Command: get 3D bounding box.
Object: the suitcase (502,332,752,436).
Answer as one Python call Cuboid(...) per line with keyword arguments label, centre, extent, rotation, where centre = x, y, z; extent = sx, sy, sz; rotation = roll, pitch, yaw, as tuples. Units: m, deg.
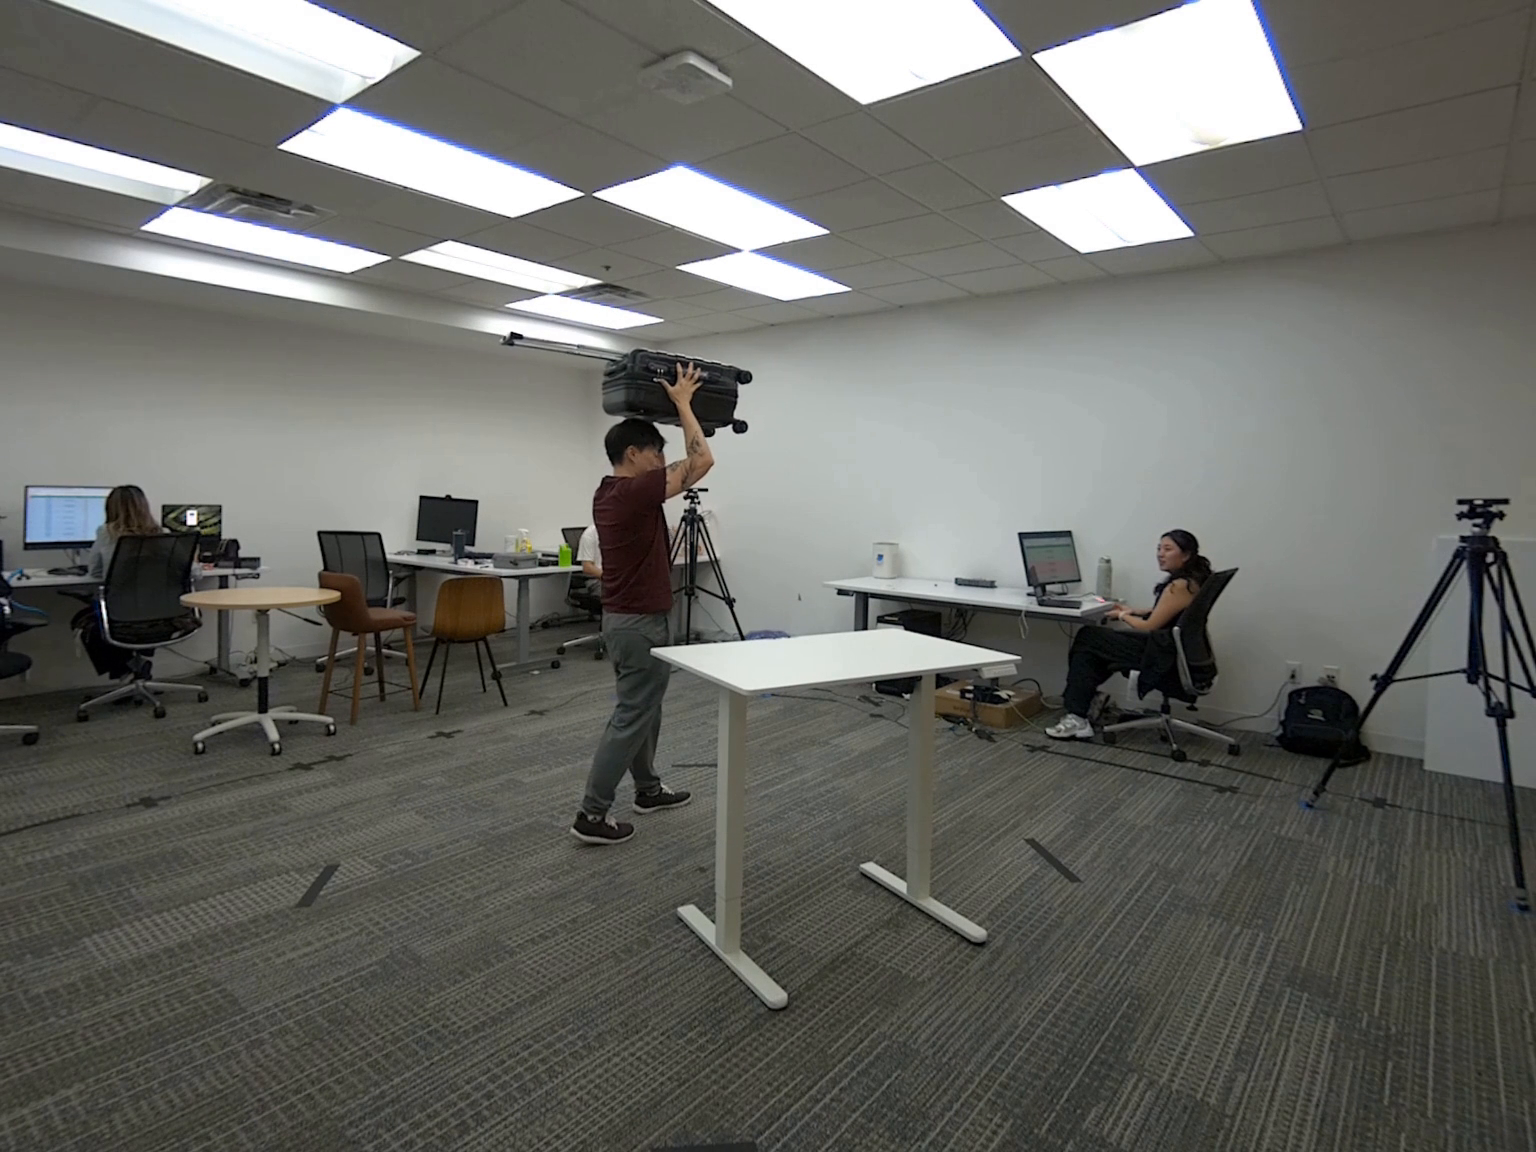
Cuboid(label="suitcase", centre=(-0.579, -0.771, 3.408), extent=(0.953, 0.256, 0.395), rotation=(3, 4, -27))
